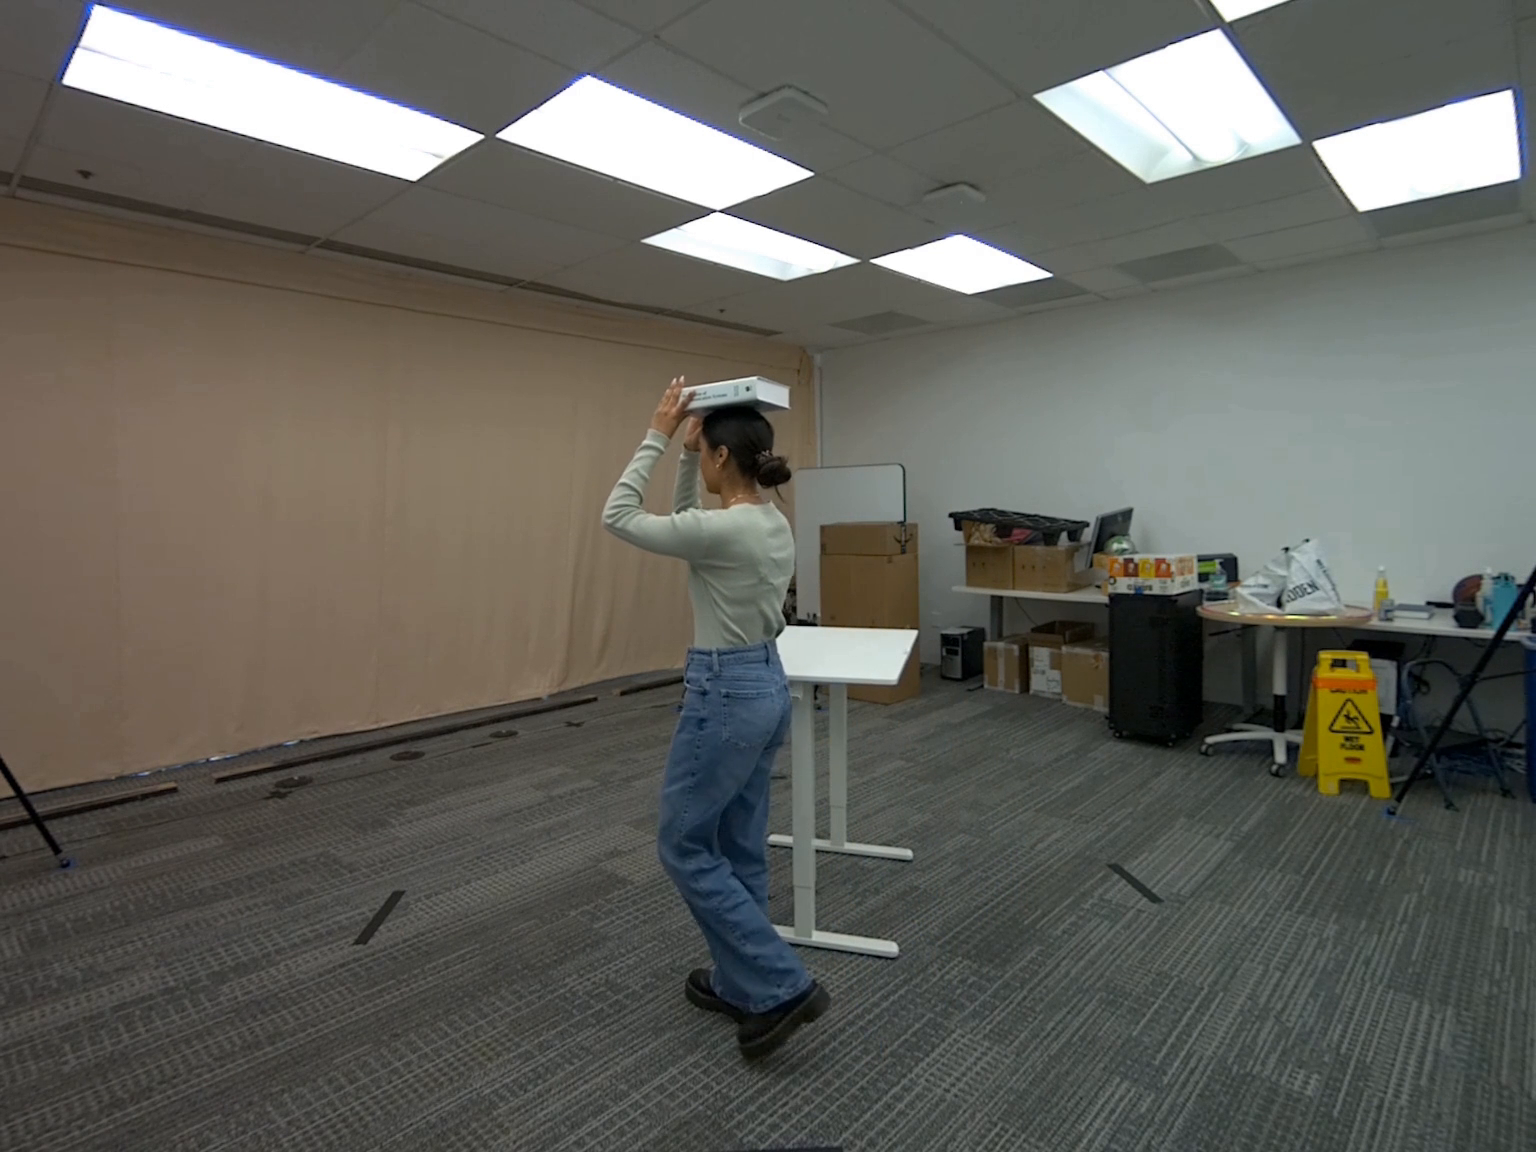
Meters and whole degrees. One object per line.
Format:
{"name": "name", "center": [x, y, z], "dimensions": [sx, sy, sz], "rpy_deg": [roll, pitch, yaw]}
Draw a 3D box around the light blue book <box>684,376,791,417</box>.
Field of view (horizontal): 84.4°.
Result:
{"name": "light blue book", "center": [-0.083, -0.463, 2.194], "dimensions": [0.268, 0.059, 0.186], "rpy_deg": [-1, 2, 27]}
